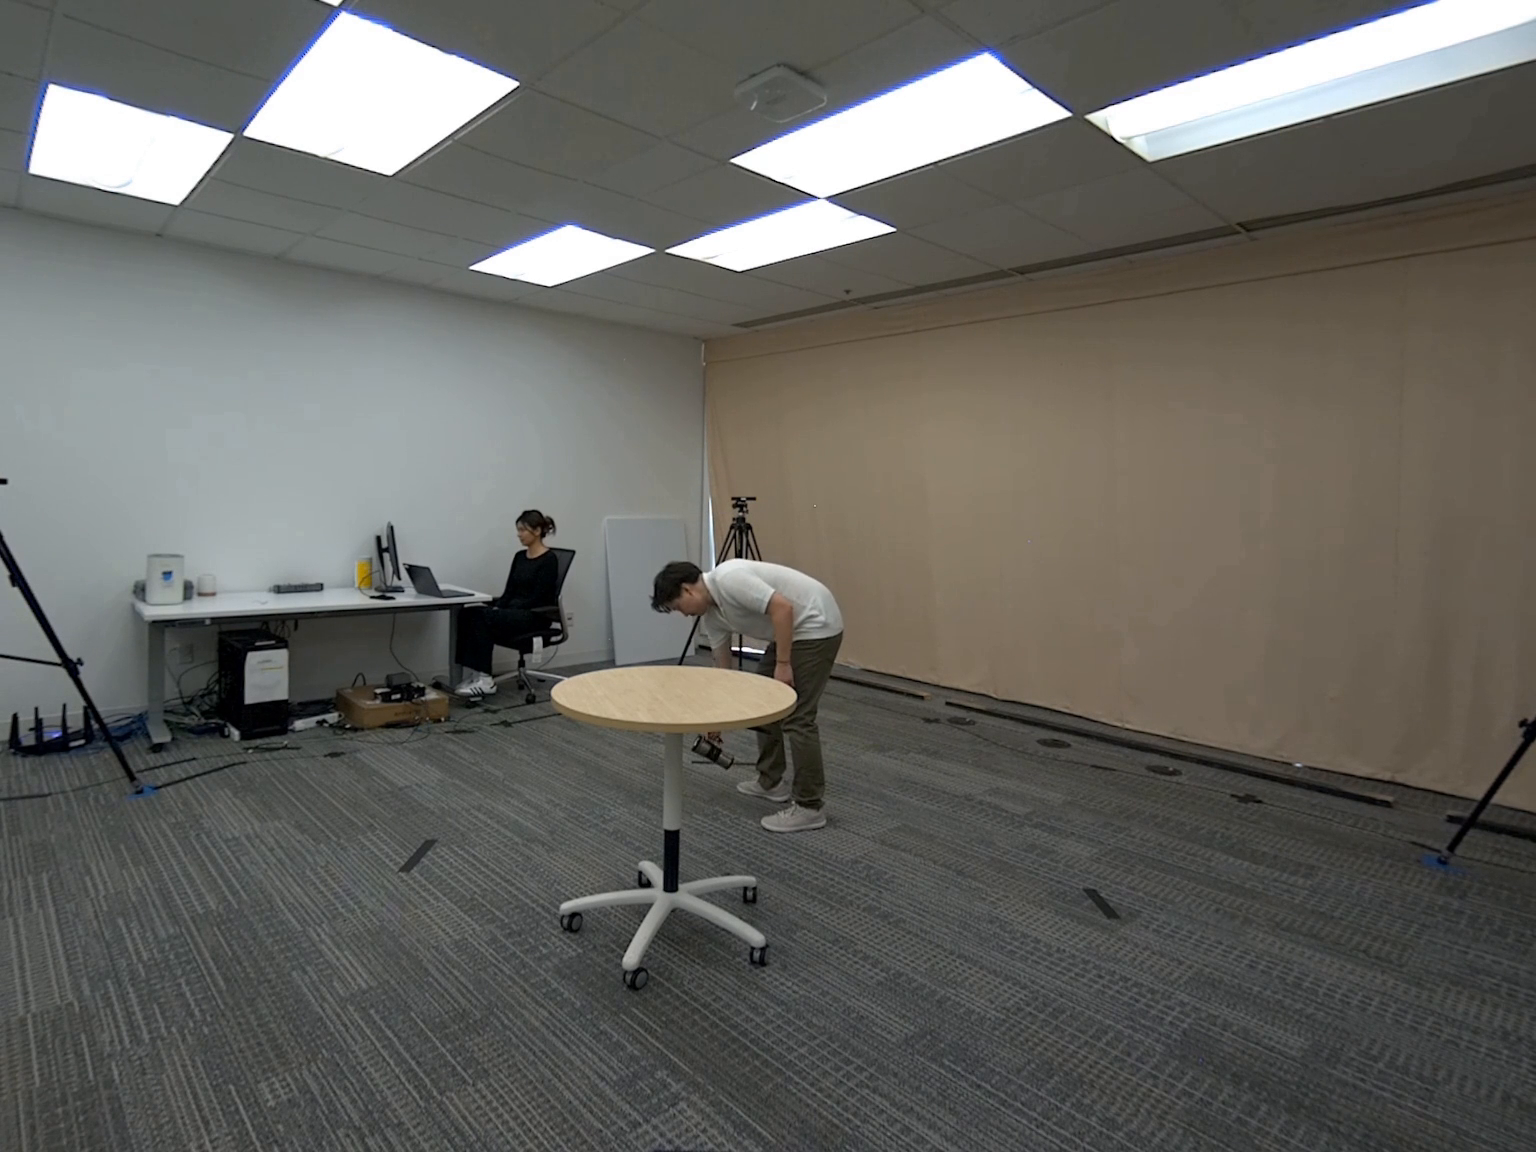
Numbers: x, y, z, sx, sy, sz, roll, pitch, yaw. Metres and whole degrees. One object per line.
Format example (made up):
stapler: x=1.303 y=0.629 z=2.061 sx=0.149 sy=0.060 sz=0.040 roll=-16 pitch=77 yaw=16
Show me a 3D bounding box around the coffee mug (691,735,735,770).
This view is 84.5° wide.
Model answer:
coffee mug: x=-0.266 y=0.831 z=3.978 sx=0.202 sy=0.088 sz=0.122 roll=36 pitch=-30 yaw=-3
